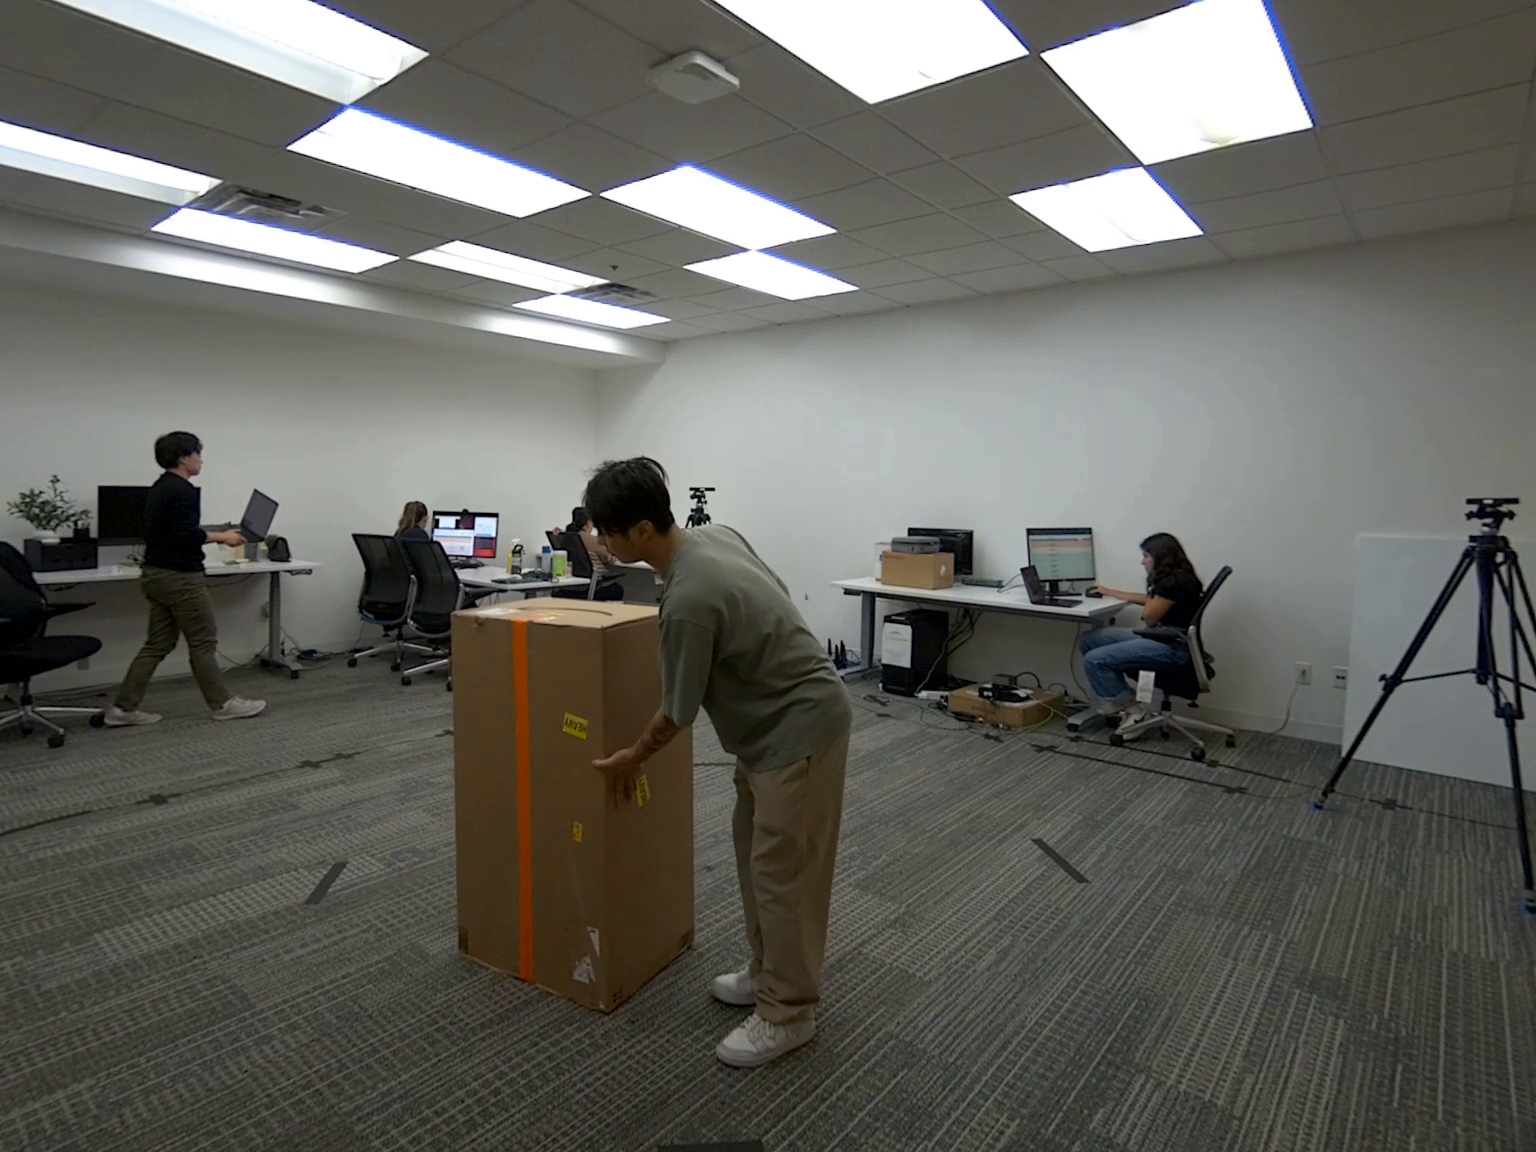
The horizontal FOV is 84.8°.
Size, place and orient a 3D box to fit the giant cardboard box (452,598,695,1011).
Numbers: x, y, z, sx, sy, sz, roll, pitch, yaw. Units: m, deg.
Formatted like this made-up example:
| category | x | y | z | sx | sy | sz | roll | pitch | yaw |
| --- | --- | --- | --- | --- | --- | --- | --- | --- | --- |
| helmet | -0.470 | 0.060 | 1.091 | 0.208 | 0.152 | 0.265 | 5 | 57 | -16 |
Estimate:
| category | x | y | z | sx | sy | sz | roll | pitch | yaw |
| --- | --- | --- | --- | --- | --- | --- | --- | --- | --- |
| giant cardboard box | -0.591 | 0.610 | 2.530 | 0.594 | 1.023 | 0.415 | 2 | 4 | 31 |
